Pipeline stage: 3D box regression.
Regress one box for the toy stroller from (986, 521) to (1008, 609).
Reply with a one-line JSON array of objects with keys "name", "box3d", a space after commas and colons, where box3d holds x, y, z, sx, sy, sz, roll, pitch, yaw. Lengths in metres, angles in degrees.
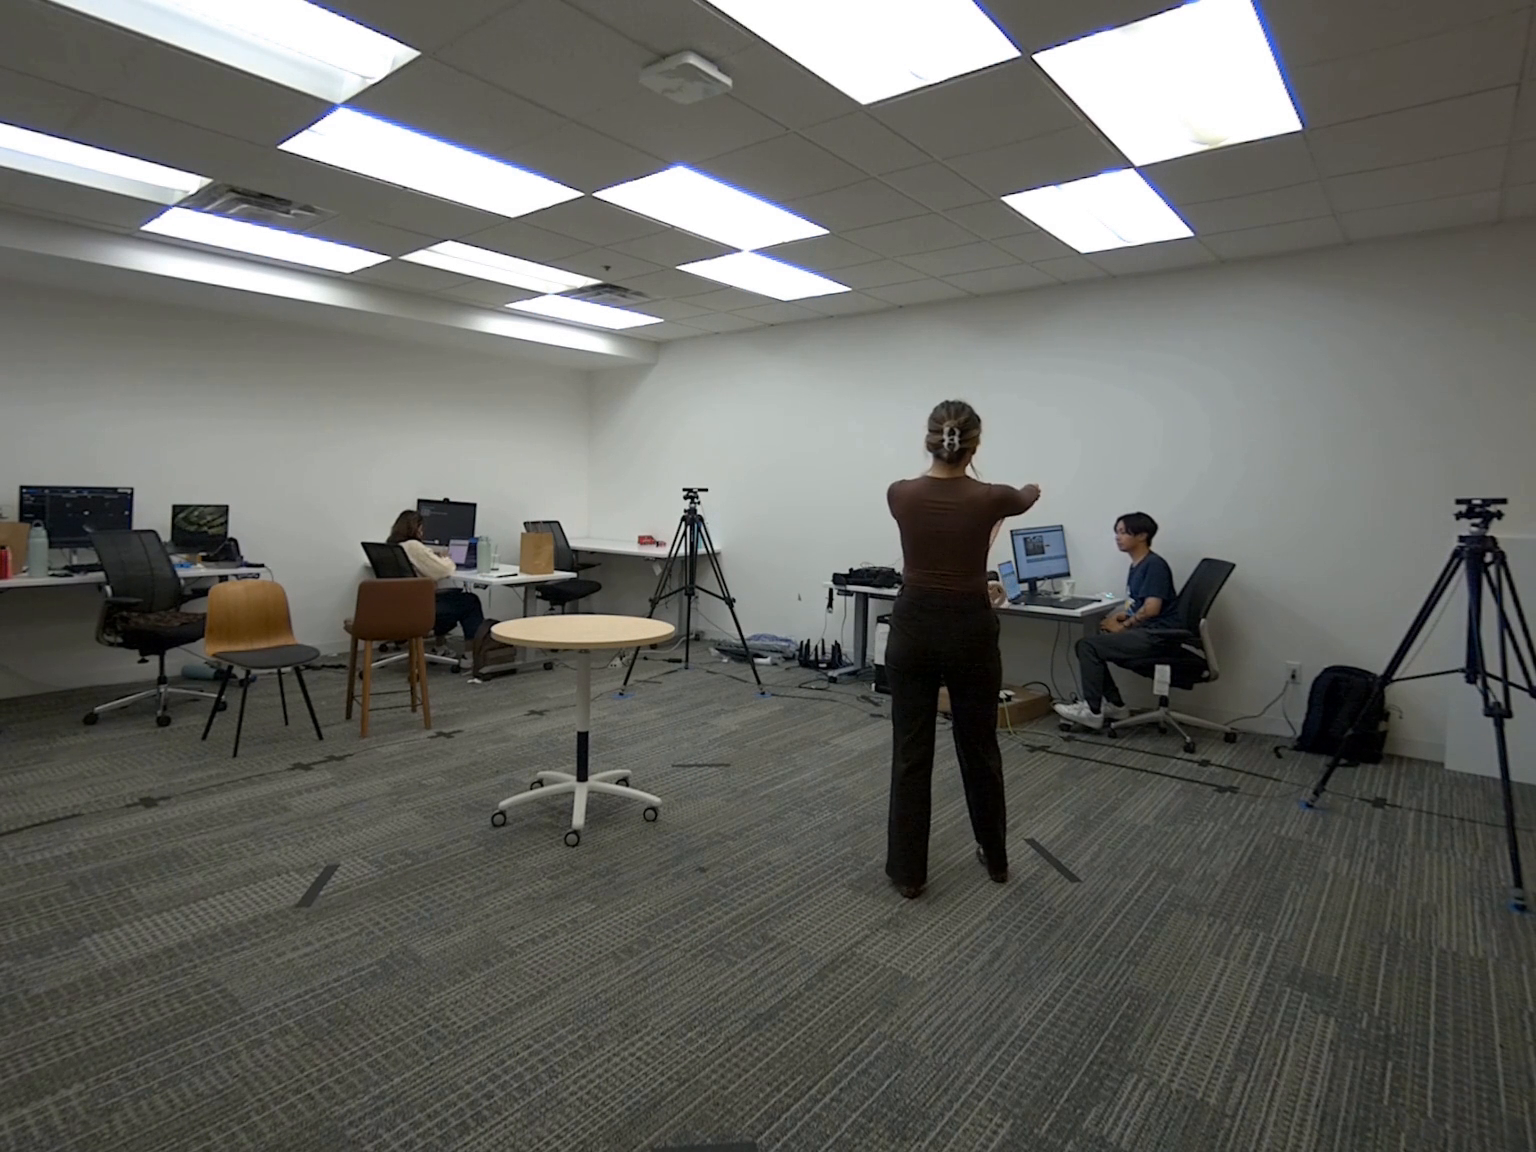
[{"name": "toy stroller", "box3d": [0.811, -0.122, 3.526, 0.342, 0.533, 0.282, 14, 4, 1]}]
